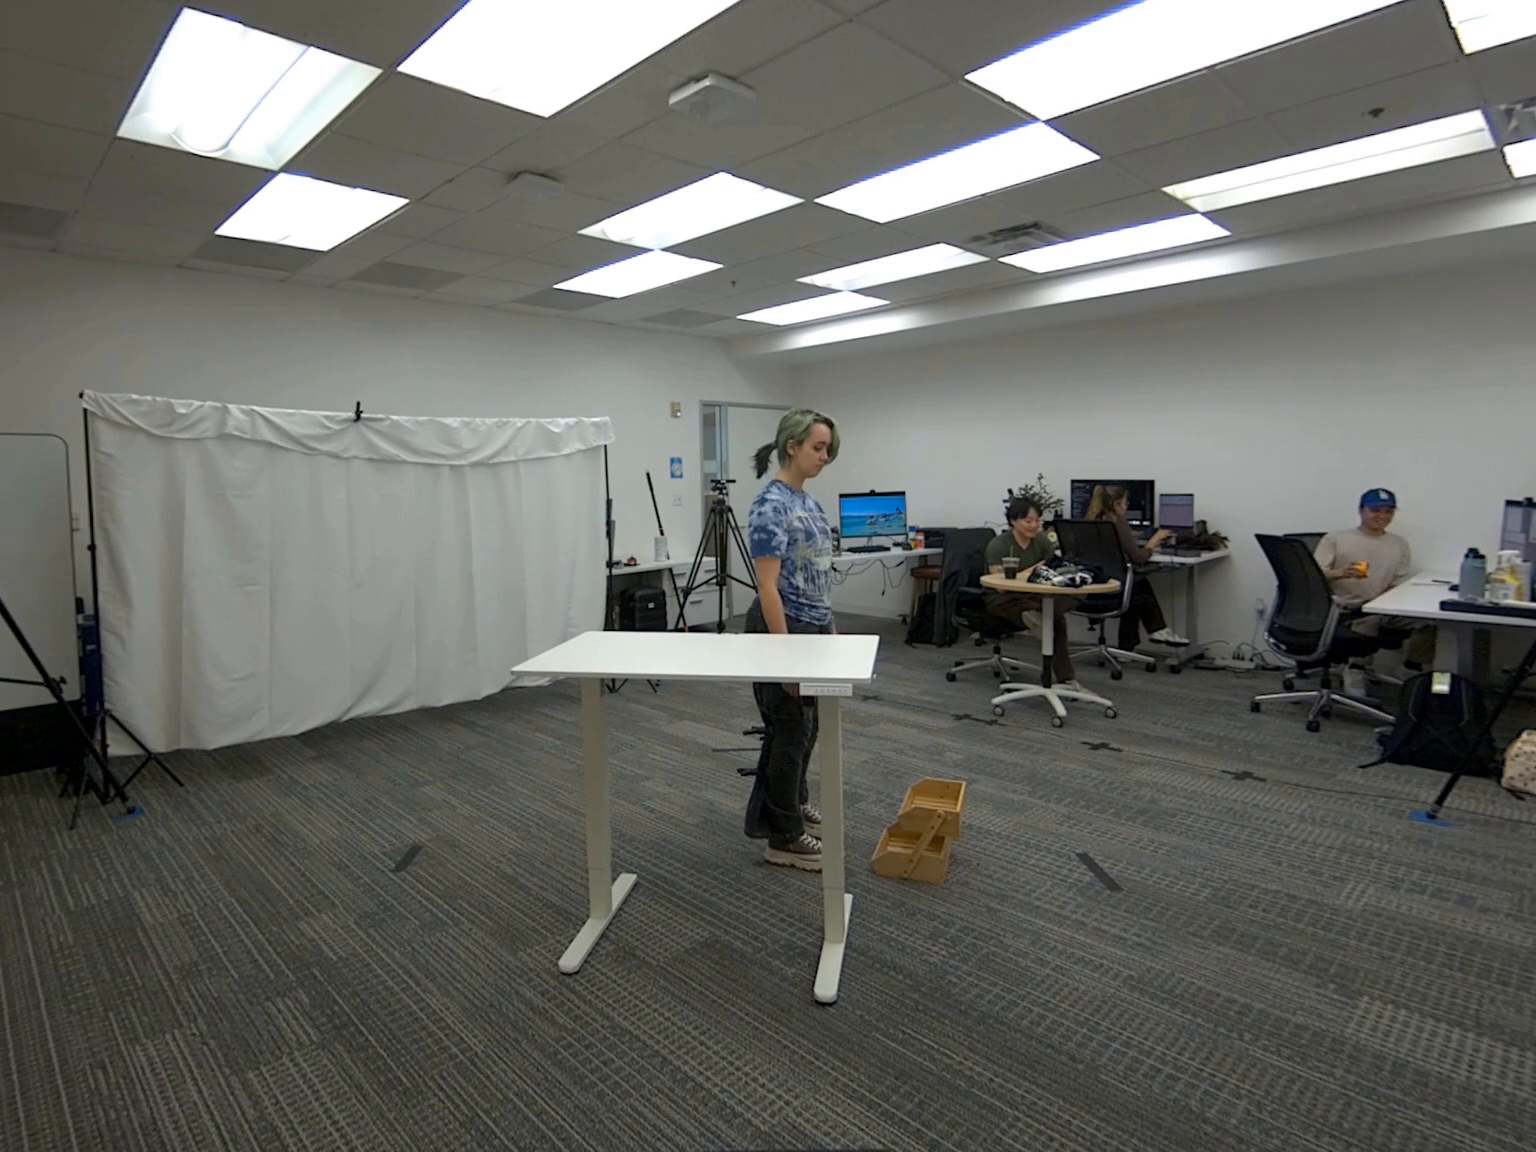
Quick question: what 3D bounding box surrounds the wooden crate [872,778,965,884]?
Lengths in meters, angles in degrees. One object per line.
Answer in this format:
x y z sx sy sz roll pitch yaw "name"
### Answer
0.547 0.904 3.091 0.308 0.272 0.320 1 5 19 "wooden crate"
